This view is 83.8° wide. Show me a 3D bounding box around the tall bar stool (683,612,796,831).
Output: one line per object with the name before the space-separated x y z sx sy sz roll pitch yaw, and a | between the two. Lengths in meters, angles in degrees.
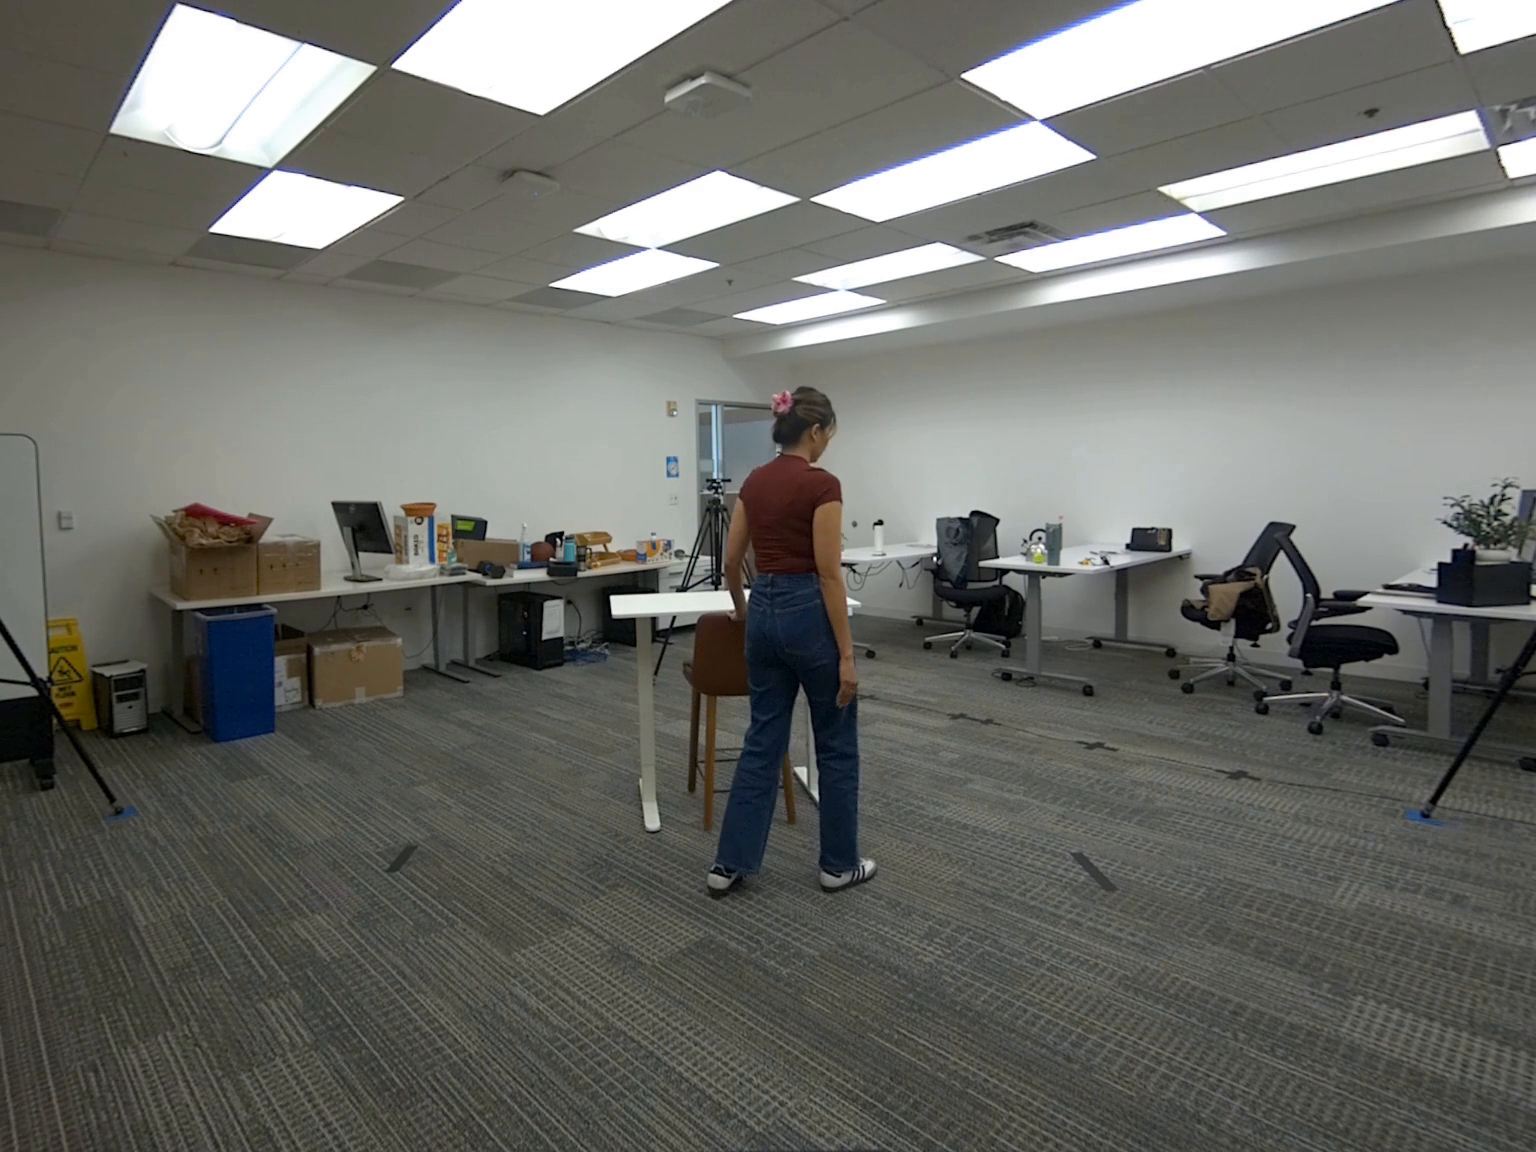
tall bar stool | -0.112 0.558 3.607 0.453 0.885 0.474 0 6 -8
